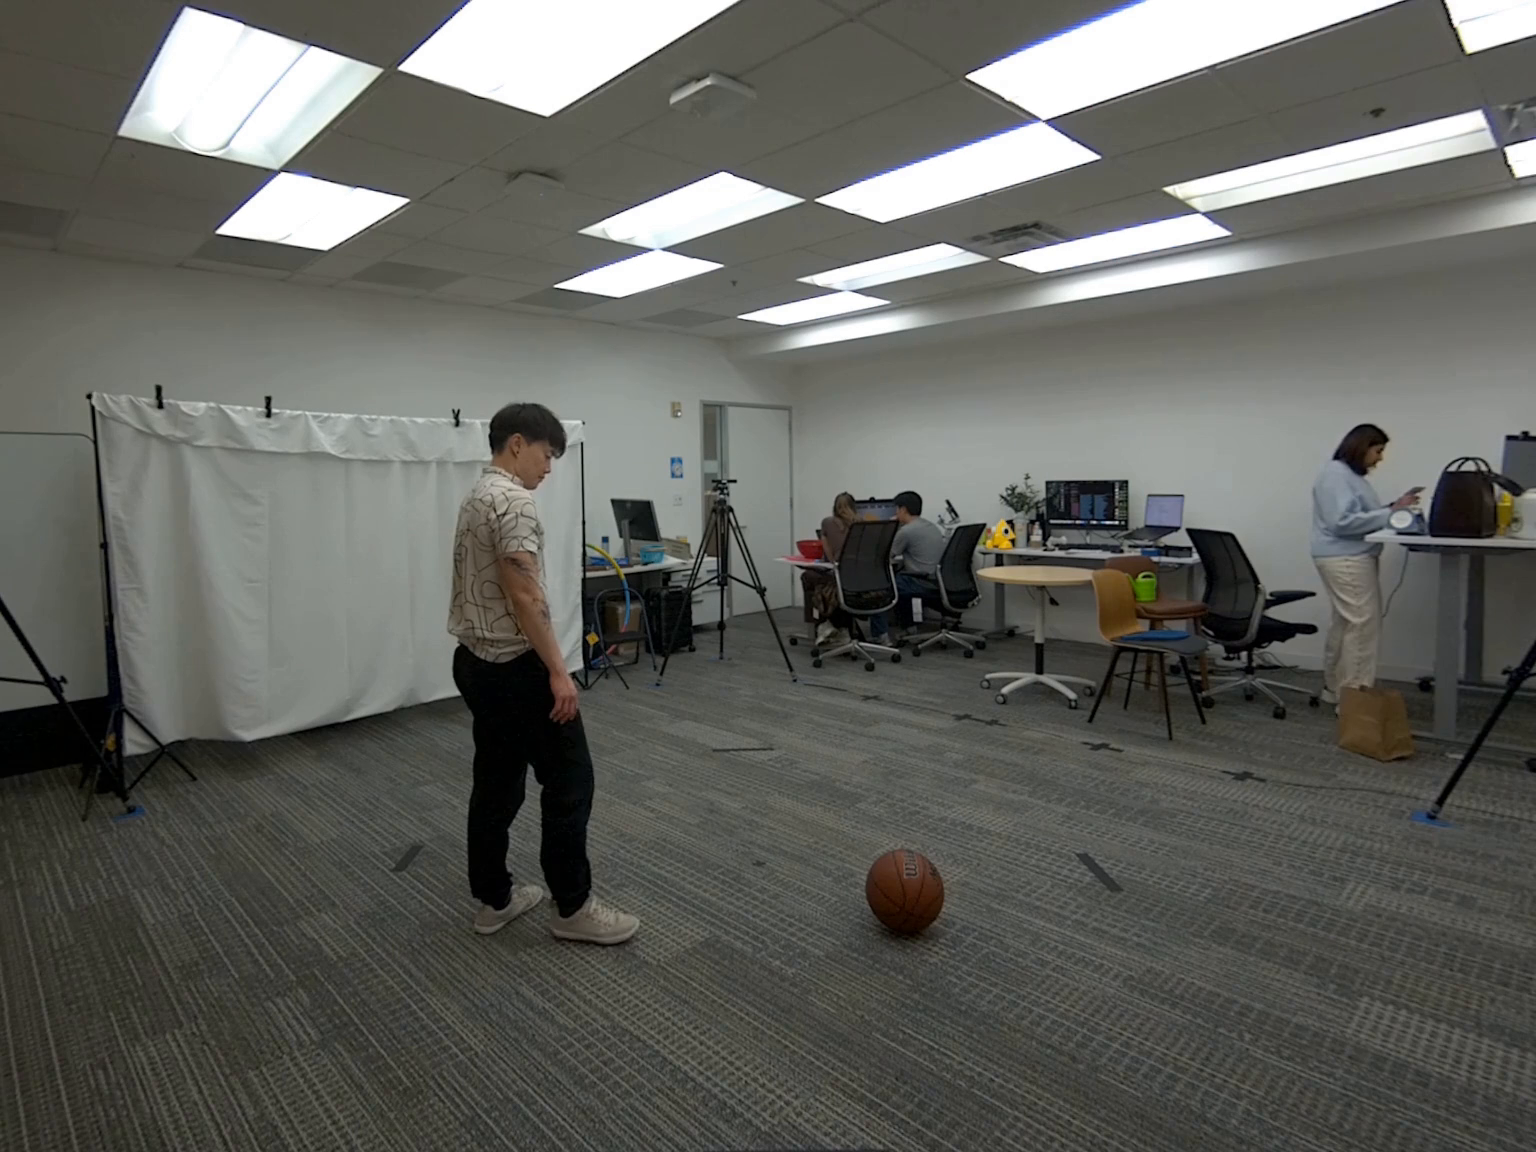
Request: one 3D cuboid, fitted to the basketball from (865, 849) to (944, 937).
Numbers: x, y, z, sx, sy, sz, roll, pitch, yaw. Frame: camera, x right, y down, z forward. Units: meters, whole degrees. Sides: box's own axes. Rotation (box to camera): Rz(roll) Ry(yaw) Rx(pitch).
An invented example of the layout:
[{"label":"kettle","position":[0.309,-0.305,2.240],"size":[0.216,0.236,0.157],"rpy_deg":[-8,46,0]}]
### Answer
[{"label":"basketball","position":[0.432,0.972,2.643],"size":[0.236,0.235,0.237],"rpy_deg":[-1,5,-2]}]
